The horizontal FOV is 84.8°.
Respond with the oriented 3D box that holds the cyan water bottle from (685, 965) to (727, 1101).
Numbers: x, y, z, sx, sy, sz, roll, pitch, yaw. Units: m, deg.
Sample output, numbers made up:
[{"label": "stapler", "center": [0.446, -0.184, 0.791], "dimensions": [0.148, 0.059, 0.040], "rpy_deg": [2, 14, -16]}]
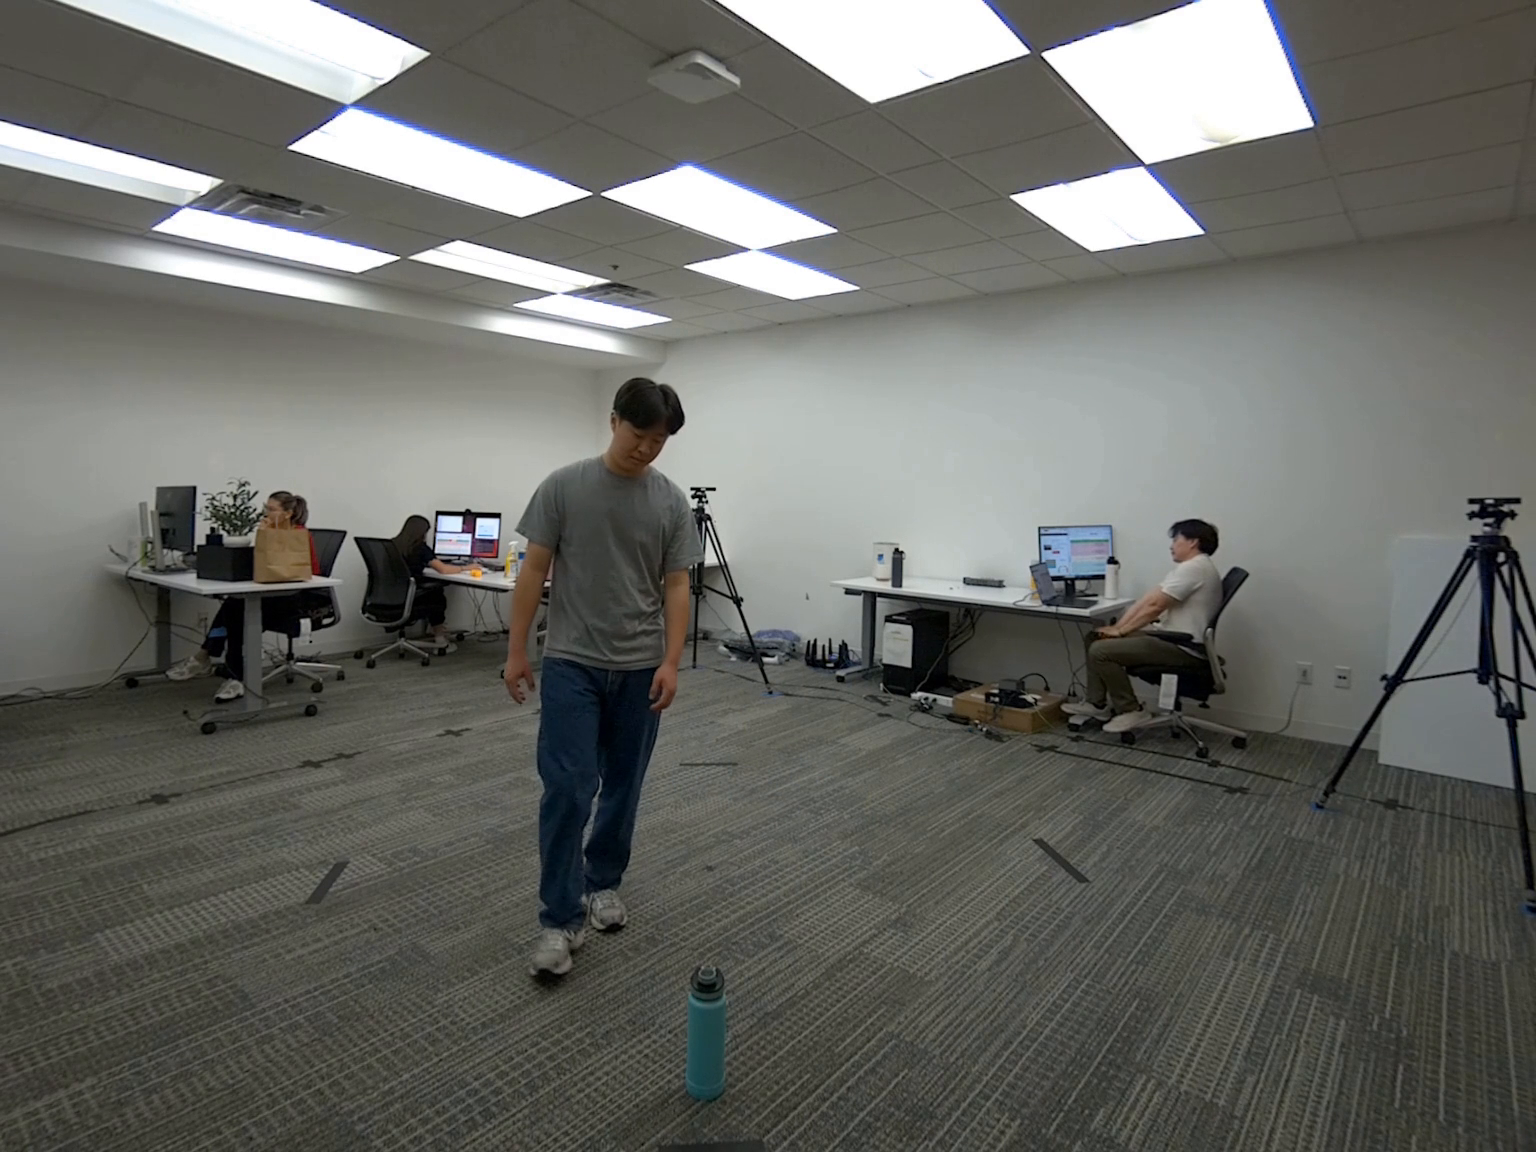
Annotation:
[{"label": "cyan water bottle", "center": [-0.147, 1.043, 1.966], "dimensions": [0.092, 0.283, 0.093], "rpy_deg": [1, 3, -2]}]
